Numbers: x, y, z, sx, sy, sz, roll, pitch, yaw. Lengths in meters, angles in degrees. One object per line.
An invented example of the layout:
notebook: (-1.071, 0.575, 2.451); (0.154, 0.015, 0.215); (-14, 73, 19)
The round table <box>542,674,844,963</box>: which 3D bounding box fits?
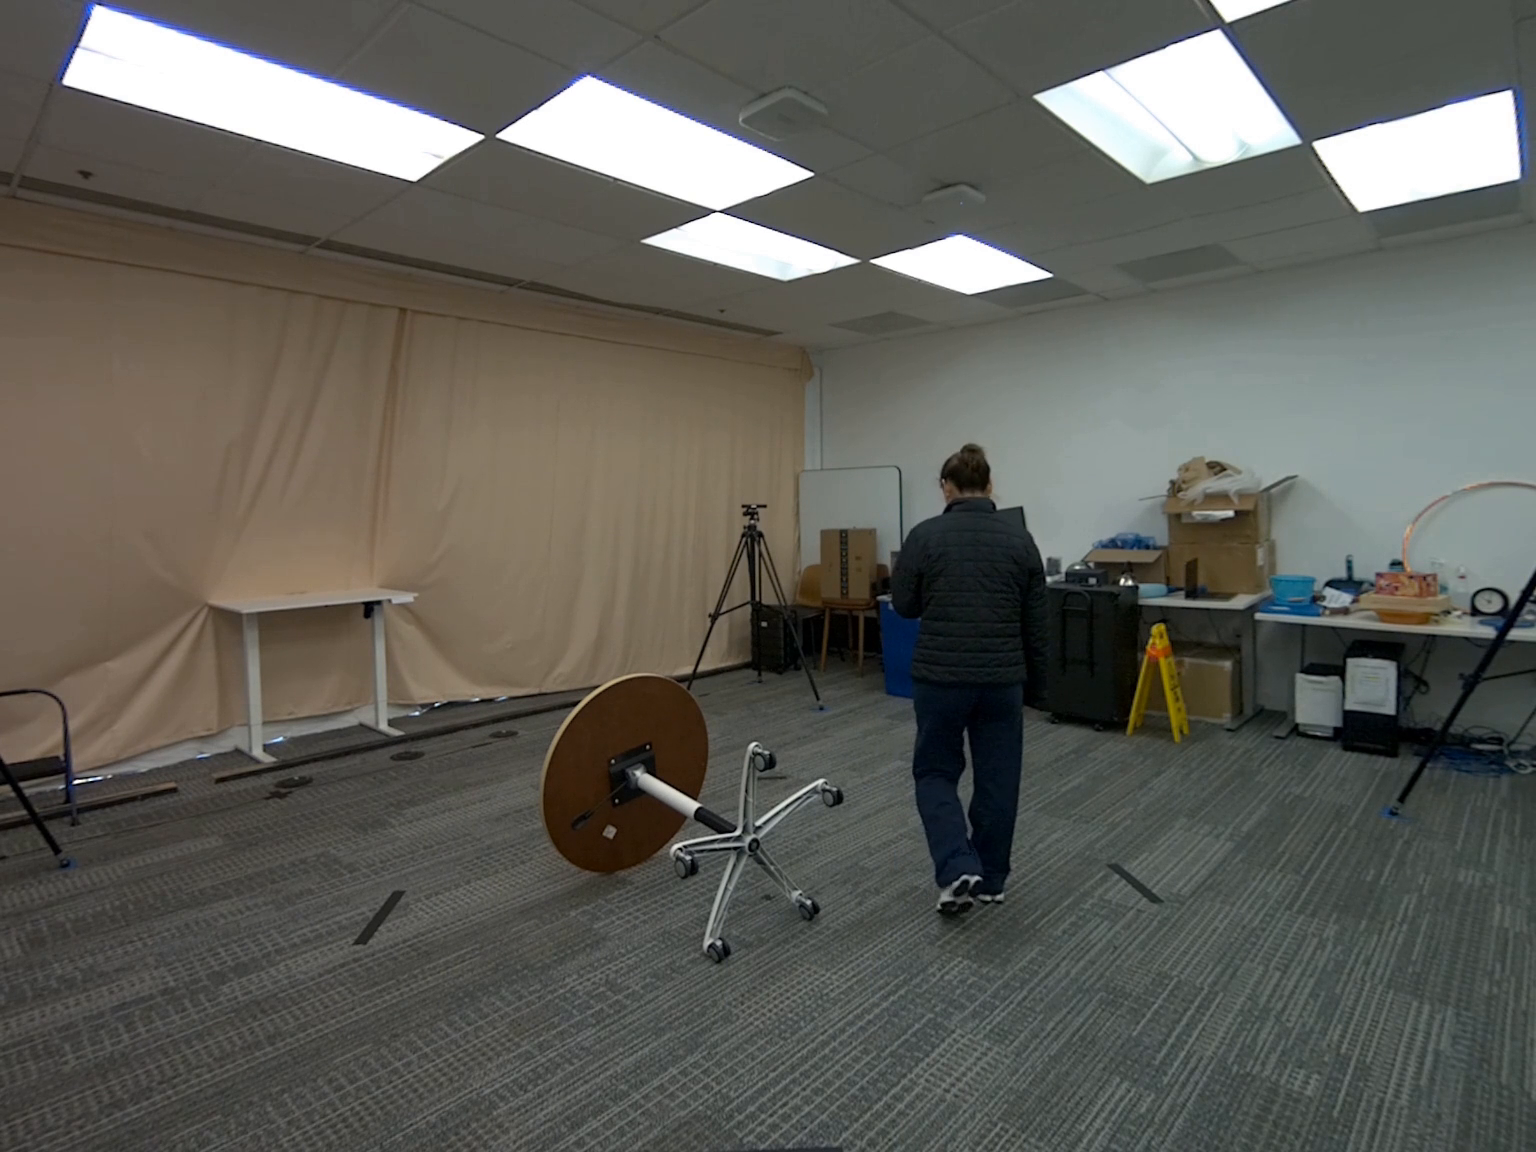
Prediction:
round table: (-0.253, 0.813, 2.924); (0.761, 0.781, 0.814); (-4, 11, -42)
